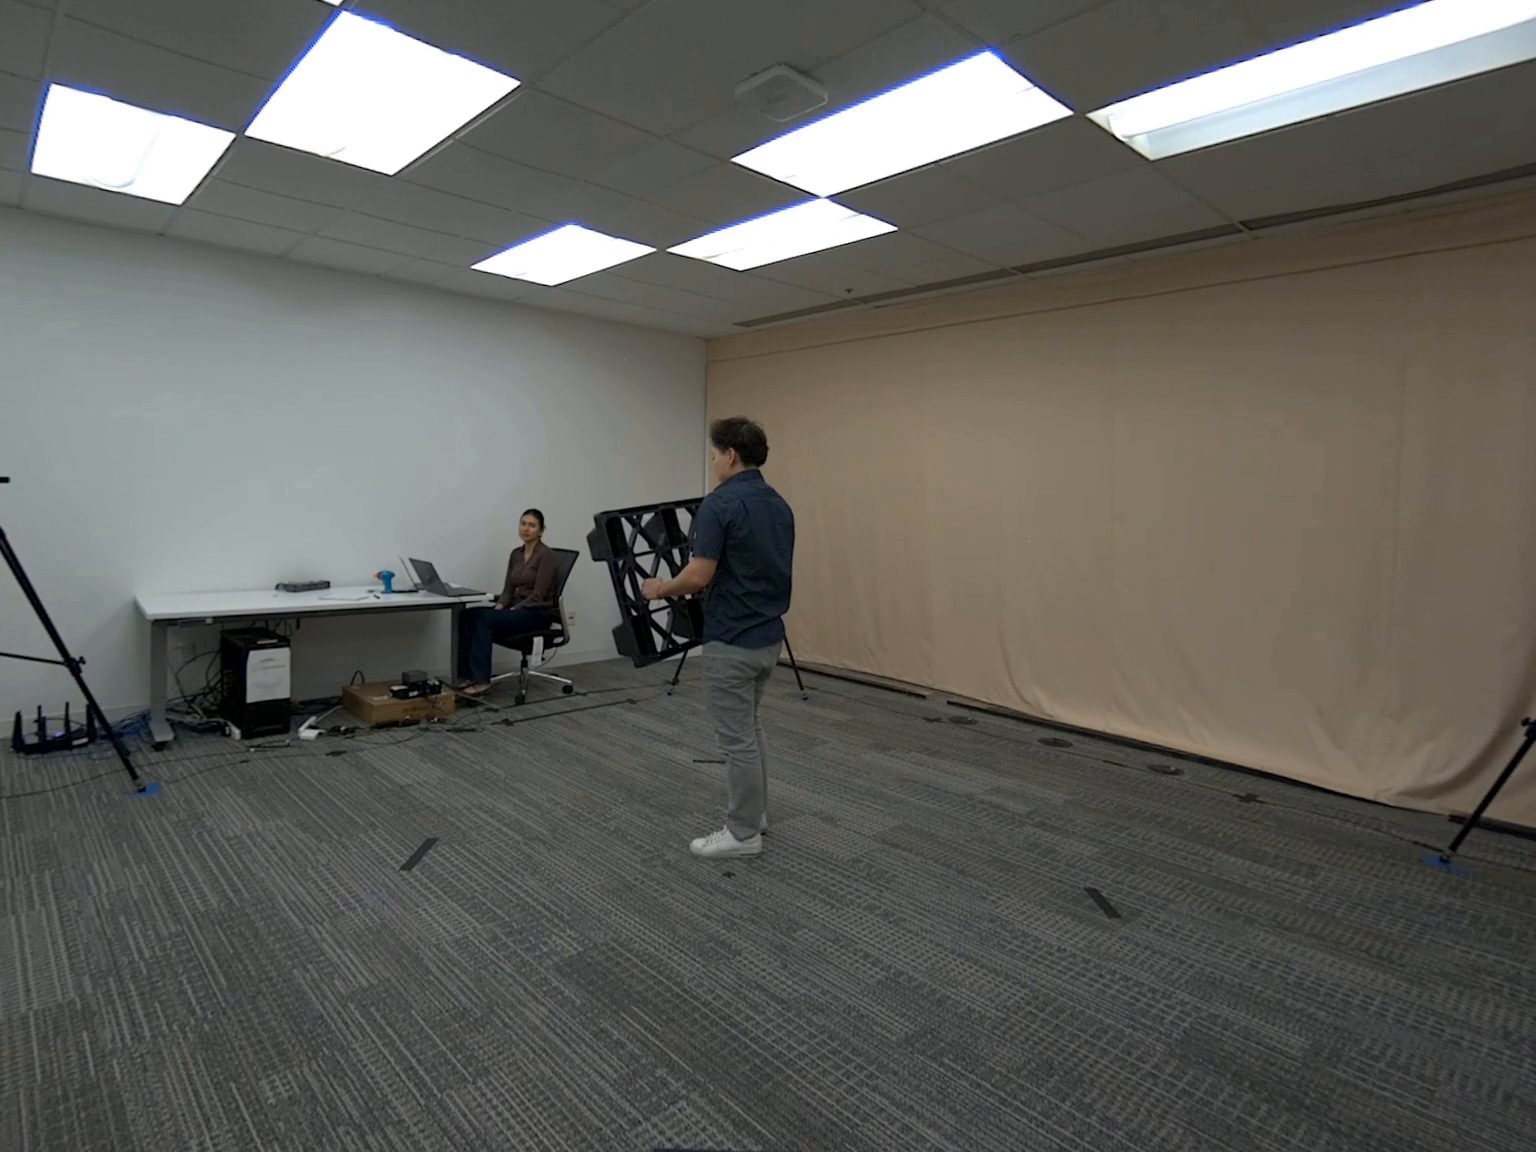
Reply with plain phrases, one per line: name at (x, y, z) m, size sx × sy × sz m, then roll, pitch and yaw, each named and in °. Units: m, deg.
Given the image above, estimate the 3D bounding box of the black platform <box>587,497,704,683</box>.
black platform at (-0.393, -0.004, 3.467) m, size 0.145 × 0.606 × 0.792 m, roll -17°, pitch 0°, yaw 33°
